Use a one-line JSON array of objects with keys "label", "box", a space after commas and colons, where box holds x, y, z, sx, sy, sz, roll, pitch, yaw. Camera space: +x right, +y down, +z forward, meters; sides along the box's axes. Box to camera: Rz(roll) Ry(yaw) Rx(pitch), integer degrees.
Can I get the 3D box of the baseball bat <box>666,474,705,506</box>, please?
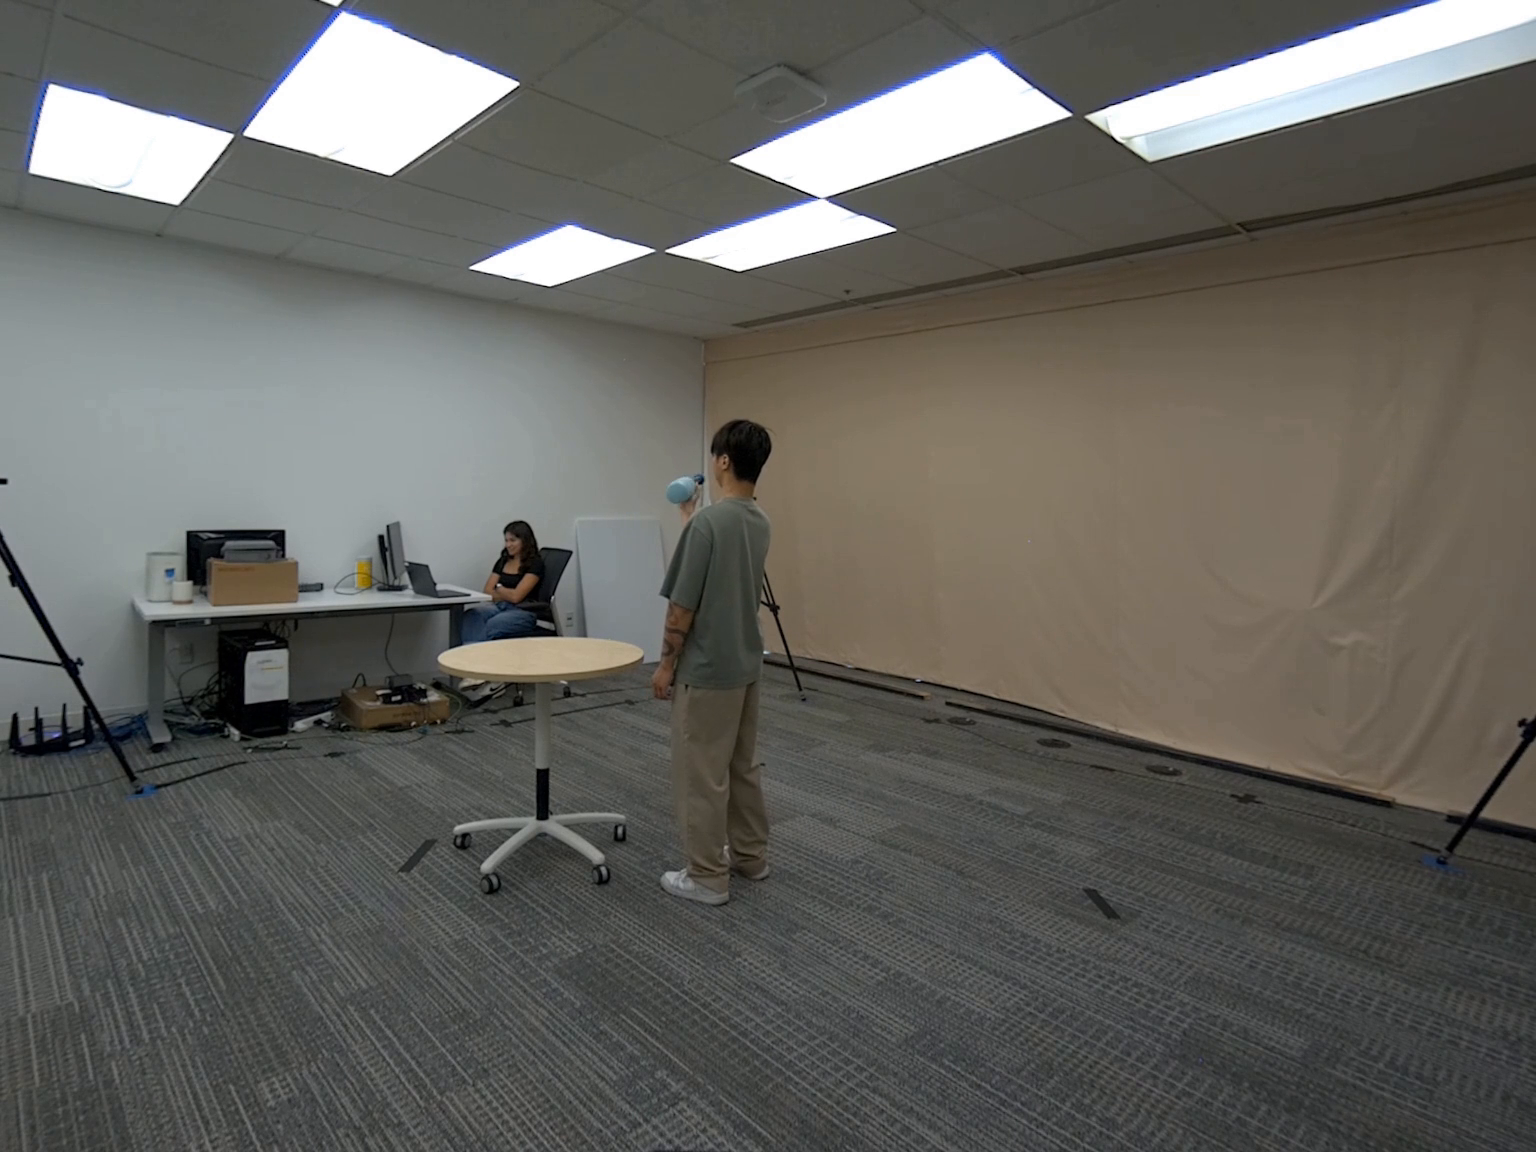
[{"label": "baseball bat", "box": [-0.336, -0.367, 3.438, 0.089, 0.088, 0.544, 2, 12, 5]}]
